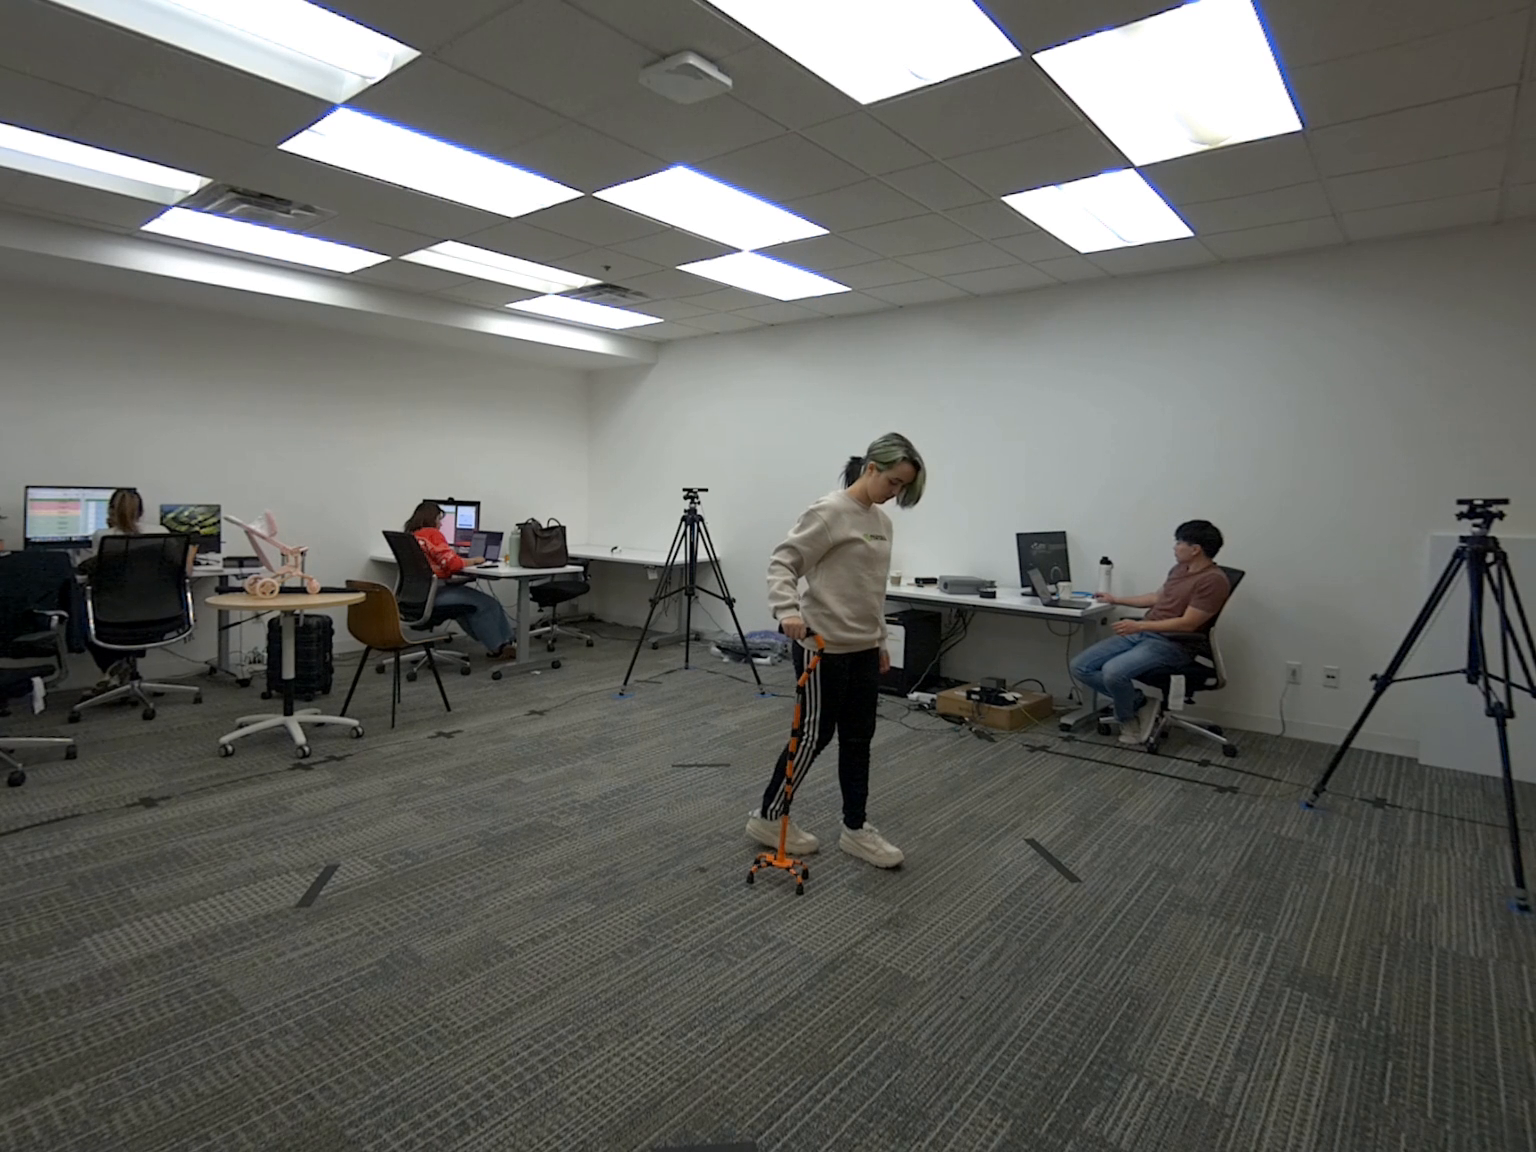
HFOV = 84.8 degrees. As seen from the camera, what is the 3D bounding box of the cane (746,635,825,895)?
[{"bbox_3d":[0.072,0.624,2.971,0.210,0.903,0.150,7,7,13],"label":"cane"}]
